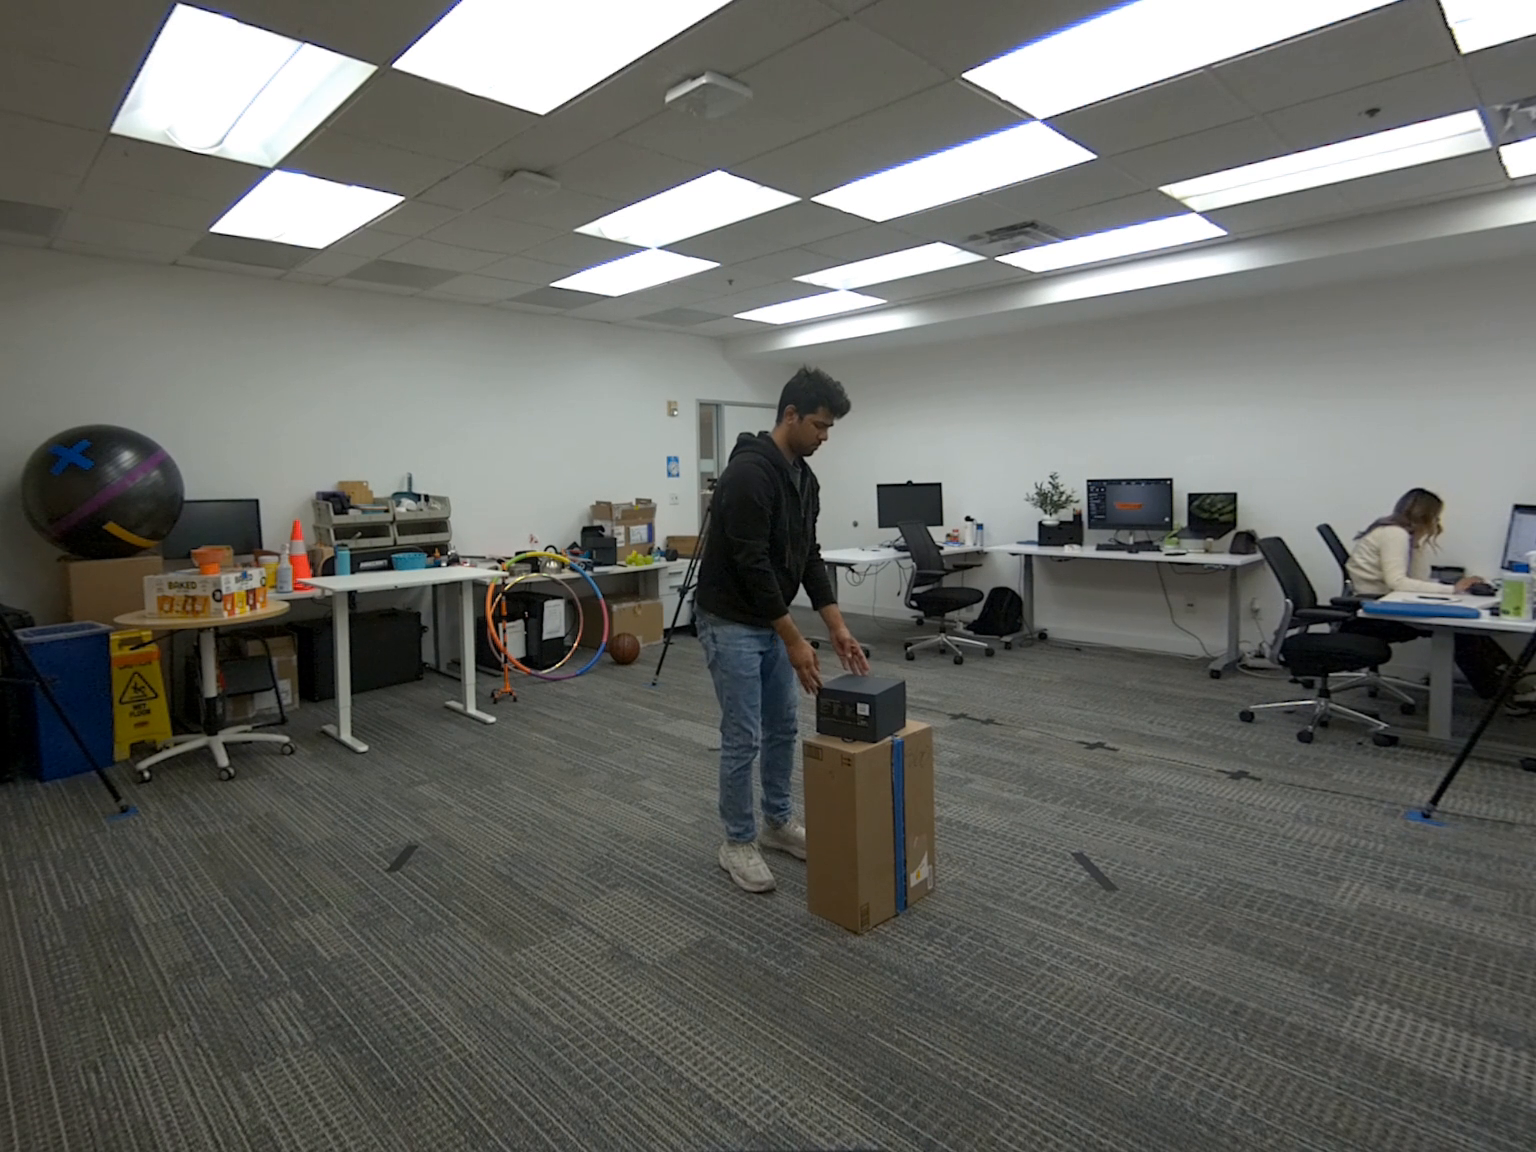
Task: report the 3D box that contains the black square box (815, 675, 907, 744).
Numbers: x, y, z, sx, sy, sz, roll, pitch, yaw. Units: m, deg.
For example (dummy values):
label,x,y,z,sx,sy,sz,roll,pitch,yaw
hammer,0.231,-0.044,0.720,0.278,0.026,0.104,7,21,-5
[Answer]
label,x,y,z,sx,sy,sz,roll,pitch,yaw
black square box,0.311,0.426,2.802,0.223,0.155,0.222,2,6,34
